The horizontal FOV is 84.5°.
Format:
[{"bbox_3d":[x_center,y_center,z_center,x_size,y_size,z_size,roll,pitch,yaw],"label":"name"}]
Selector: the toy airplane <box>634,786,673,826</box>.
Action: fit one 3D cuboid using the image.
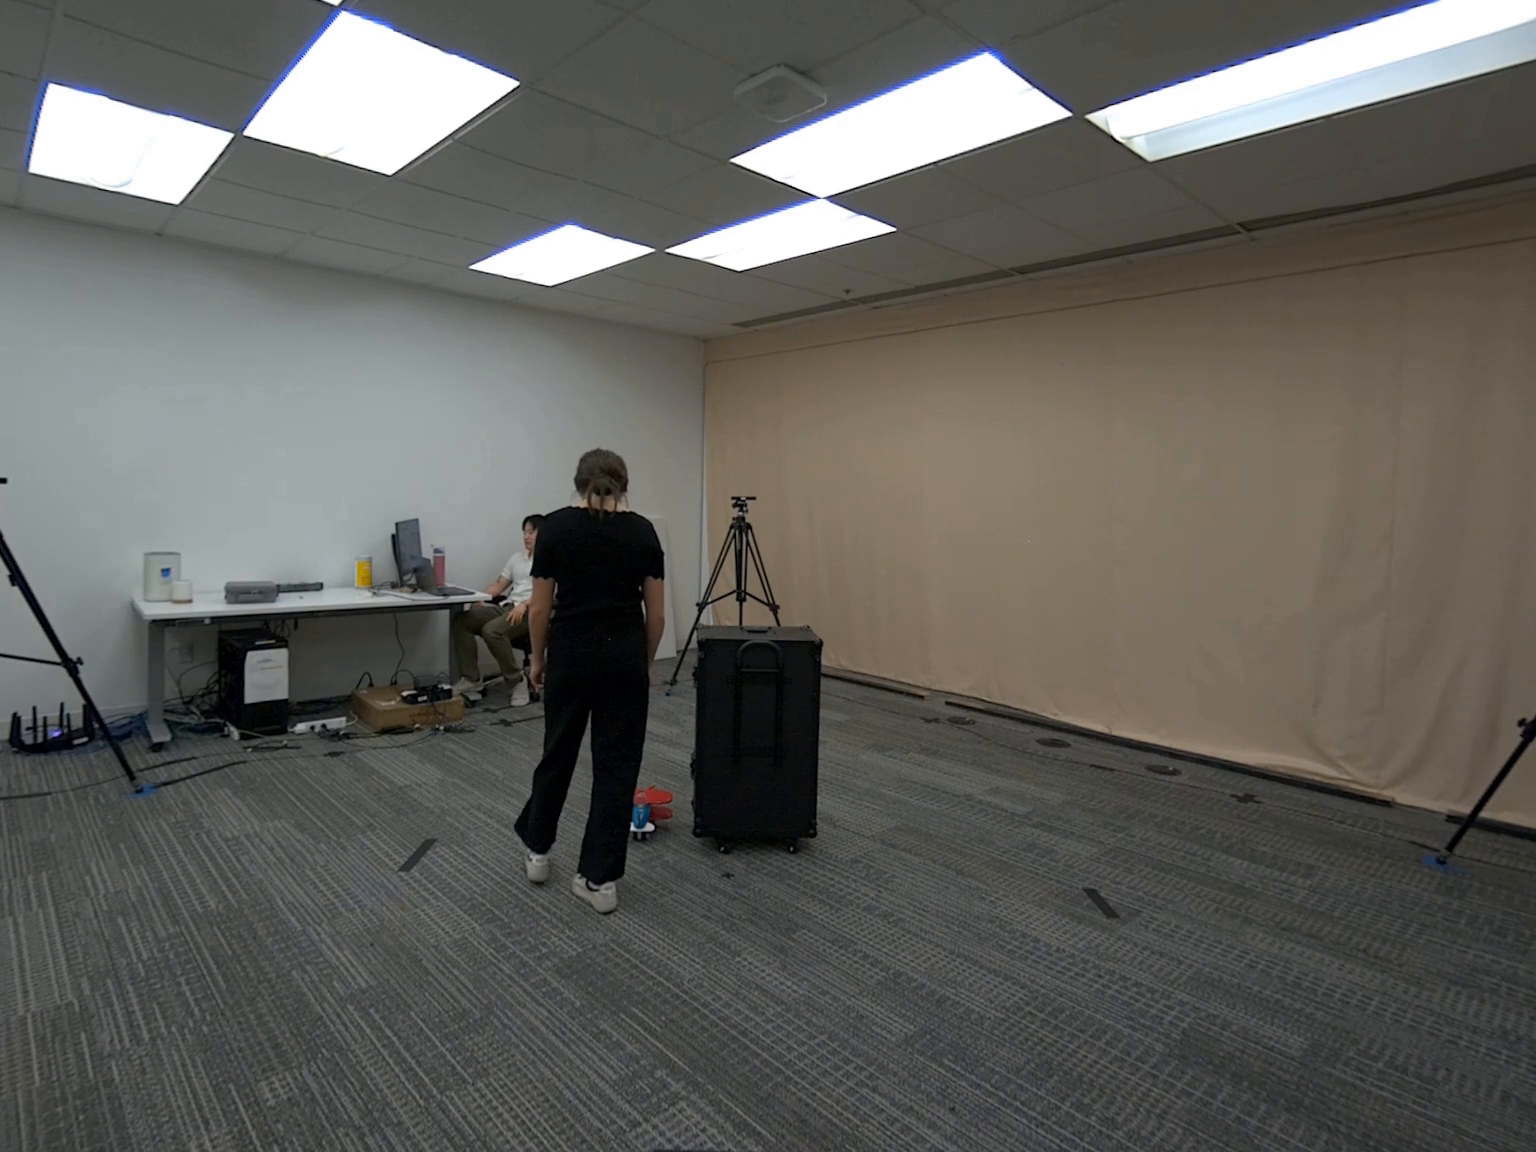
[{"bbox_3d":[-0.511,0.984,3.504,0.246,0.156,0.265,-2,5,-32],"label":"toy airplane"}]
